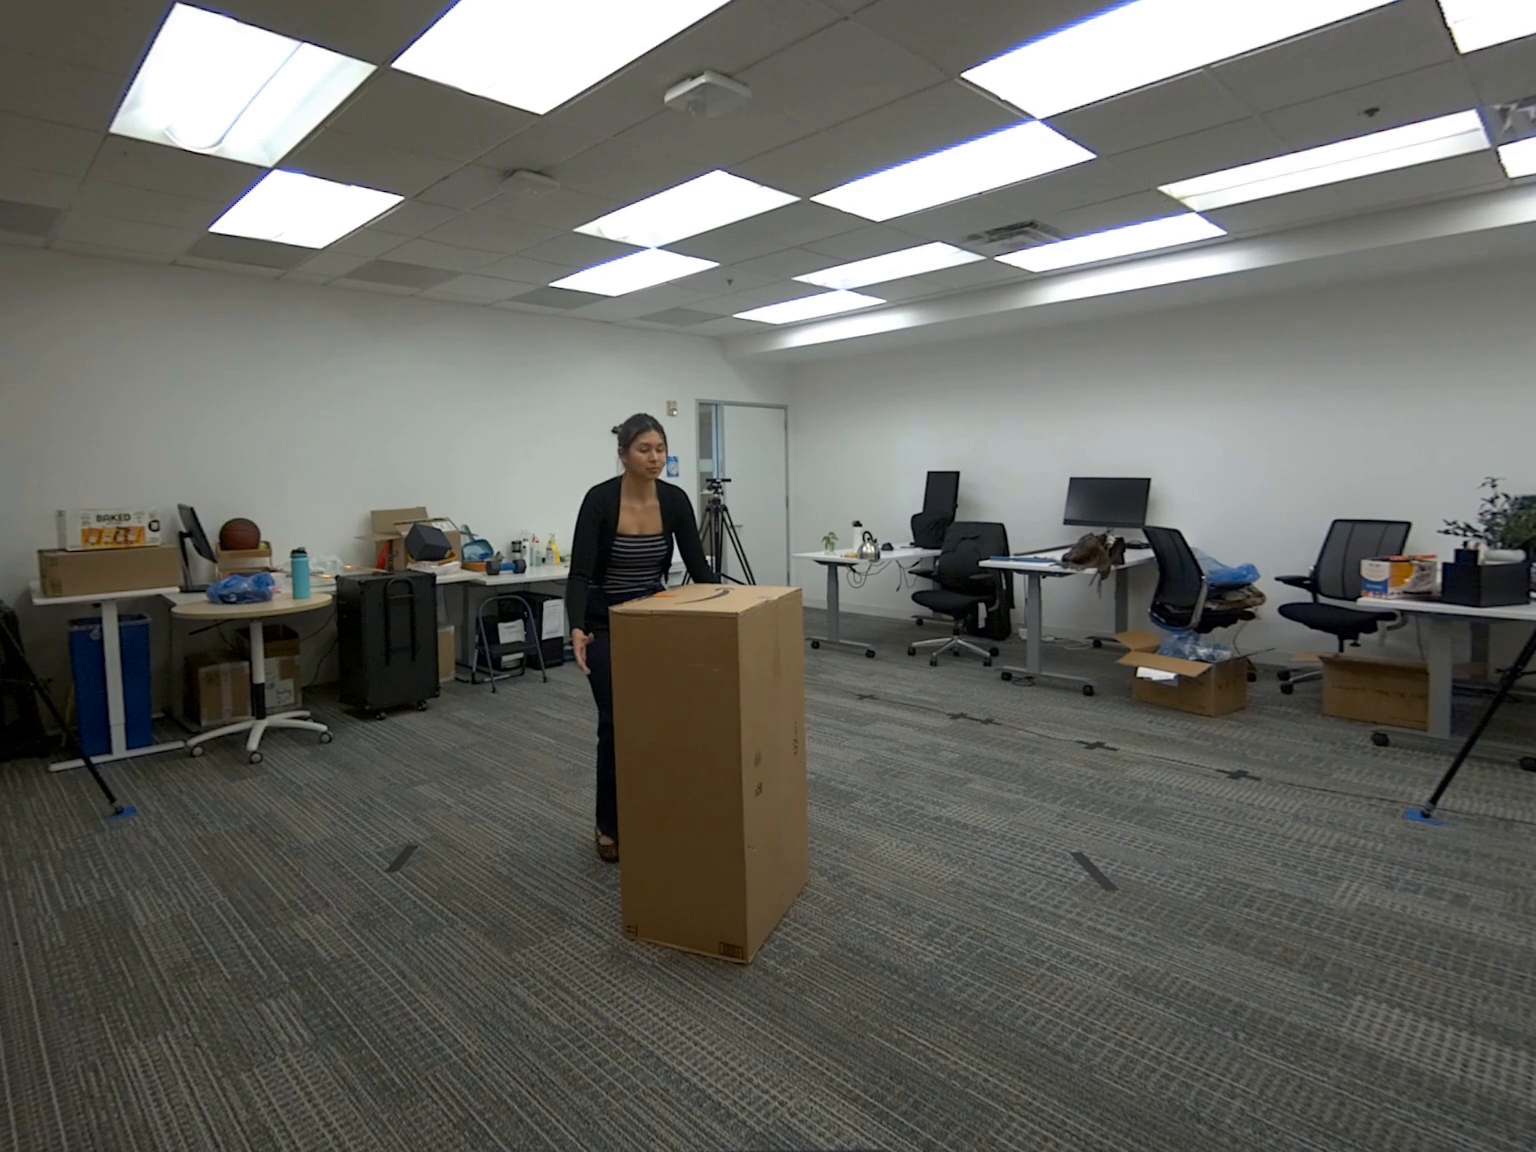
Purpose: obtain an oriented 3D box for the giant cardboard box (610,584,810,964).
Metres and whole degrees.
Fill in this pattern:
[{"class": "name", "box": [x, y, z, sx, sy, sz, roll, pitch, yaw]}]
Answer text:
[{"class": "giant cardboard box", "box": [-0.162, 0.576, 2.758, 0.435, 1.022, 0.567, 0, 4, 23]}]
